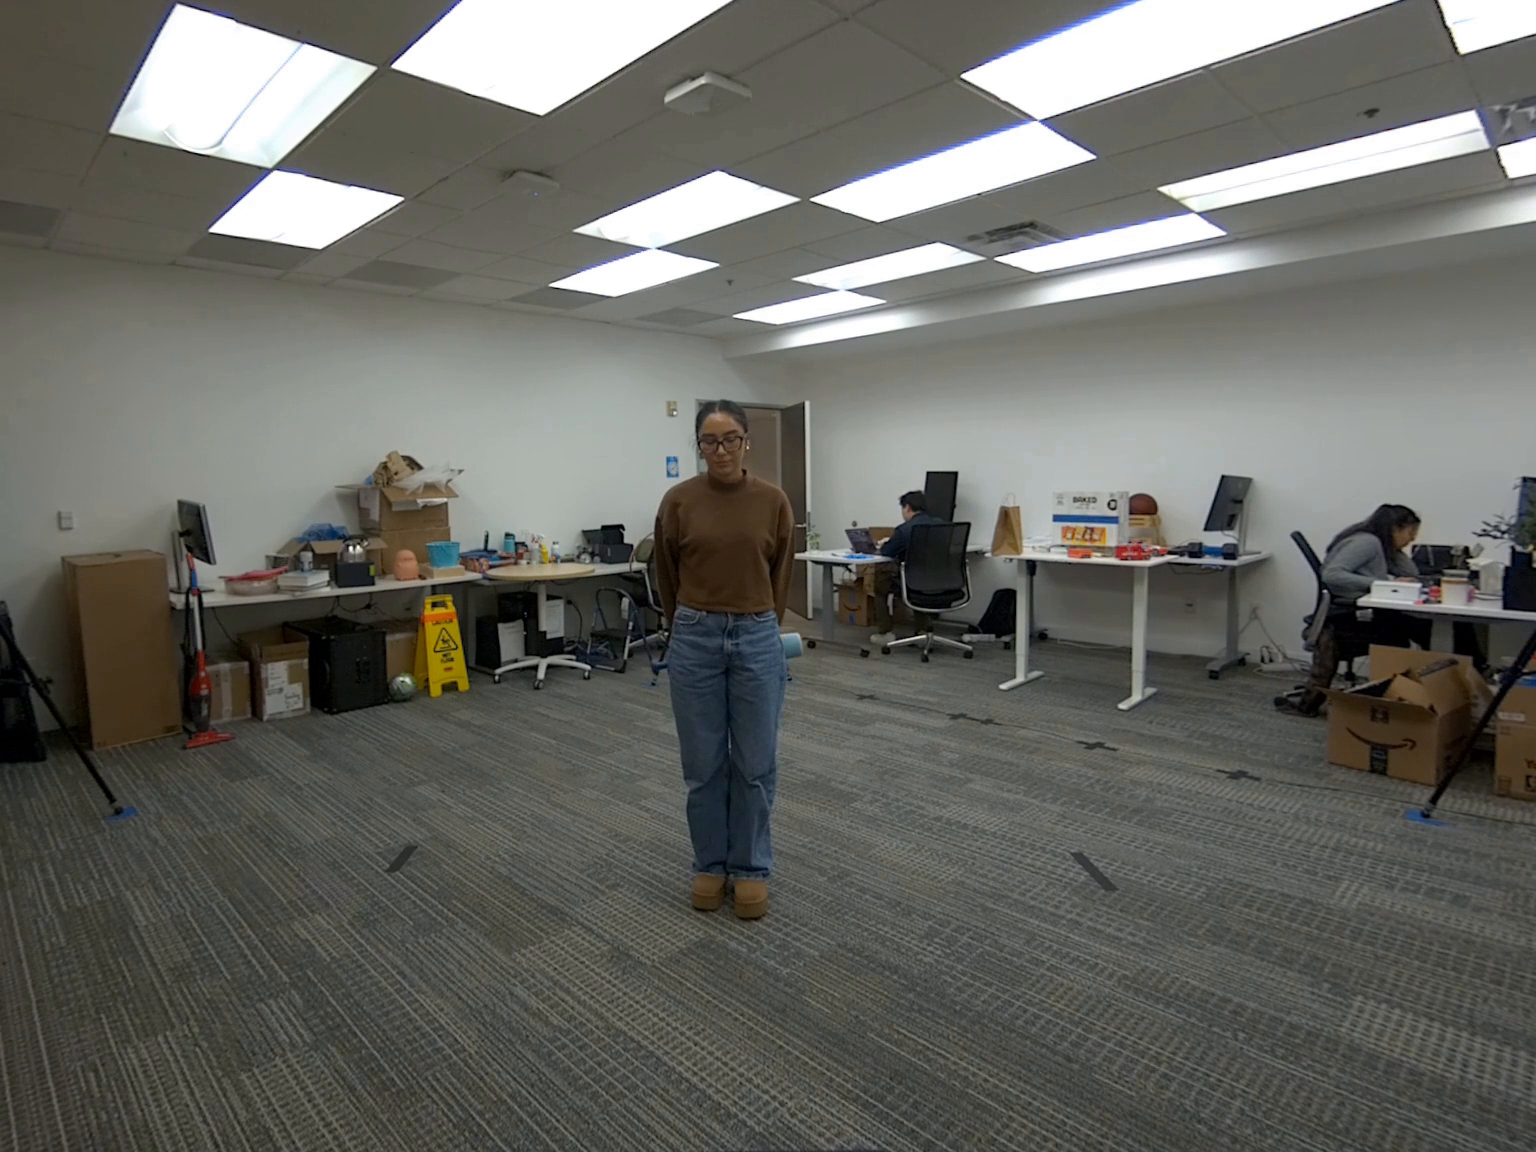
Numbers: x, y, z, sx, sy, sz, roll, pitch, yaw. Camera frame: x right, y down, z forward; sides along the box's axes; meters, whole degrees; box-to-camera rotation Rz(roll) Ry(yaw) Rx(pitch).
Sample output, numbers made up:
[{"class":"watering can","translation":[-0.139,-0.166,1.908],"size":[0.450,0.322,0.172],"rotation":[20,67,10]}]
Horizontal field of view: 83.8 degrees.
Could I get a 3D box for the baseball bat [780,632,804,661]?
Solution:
[{"class":"baseball bat","translation":[-0.145,0.278,3.032],"size":[0.544,0.089,0.089],"rotation":[-6,5,3]}]
